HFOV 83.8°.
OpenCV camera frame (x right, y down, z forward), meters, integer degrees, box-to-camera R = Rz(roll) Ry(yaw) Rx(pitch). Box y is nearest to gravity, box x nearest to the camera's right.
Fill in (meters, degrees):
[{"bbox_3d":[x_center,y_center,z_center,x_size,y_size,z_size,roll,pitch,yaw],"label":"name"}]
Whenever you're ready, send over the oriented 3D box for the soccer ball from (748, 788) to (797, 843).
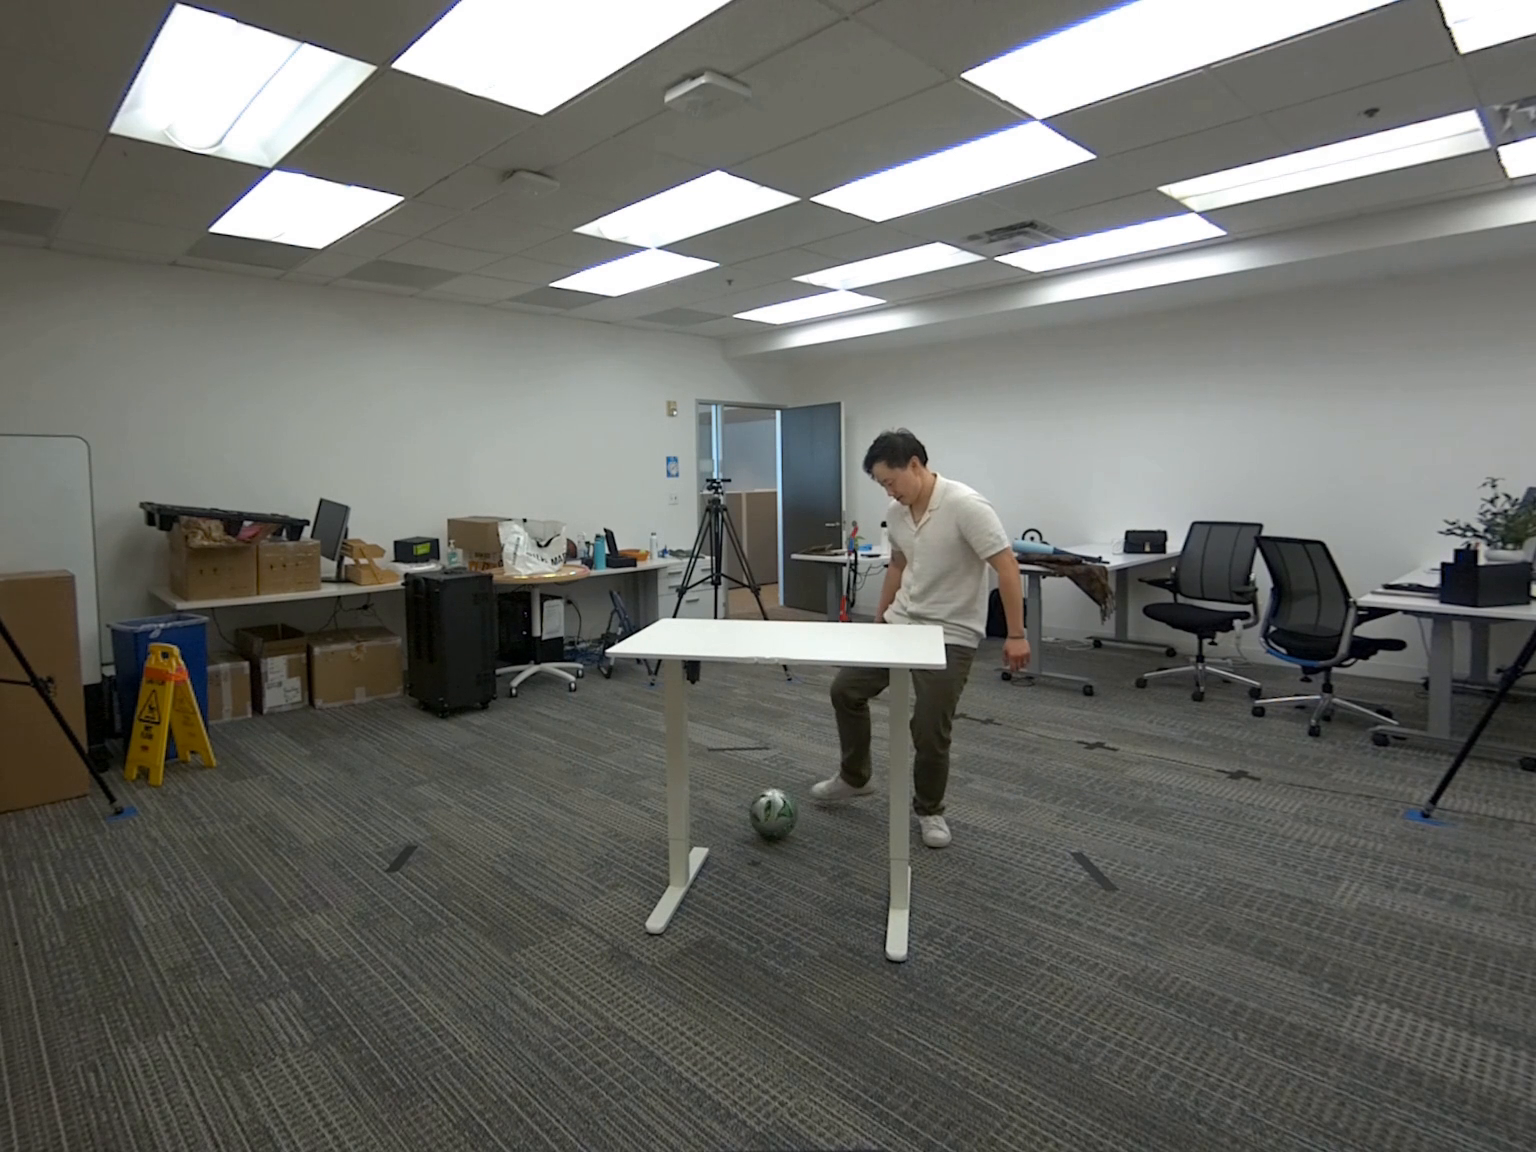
[{"bbox_3d":[0.021,0.925,3.315,0.187,0.187,0.188,-1,5,-2],"label":"soccer ball"}]
